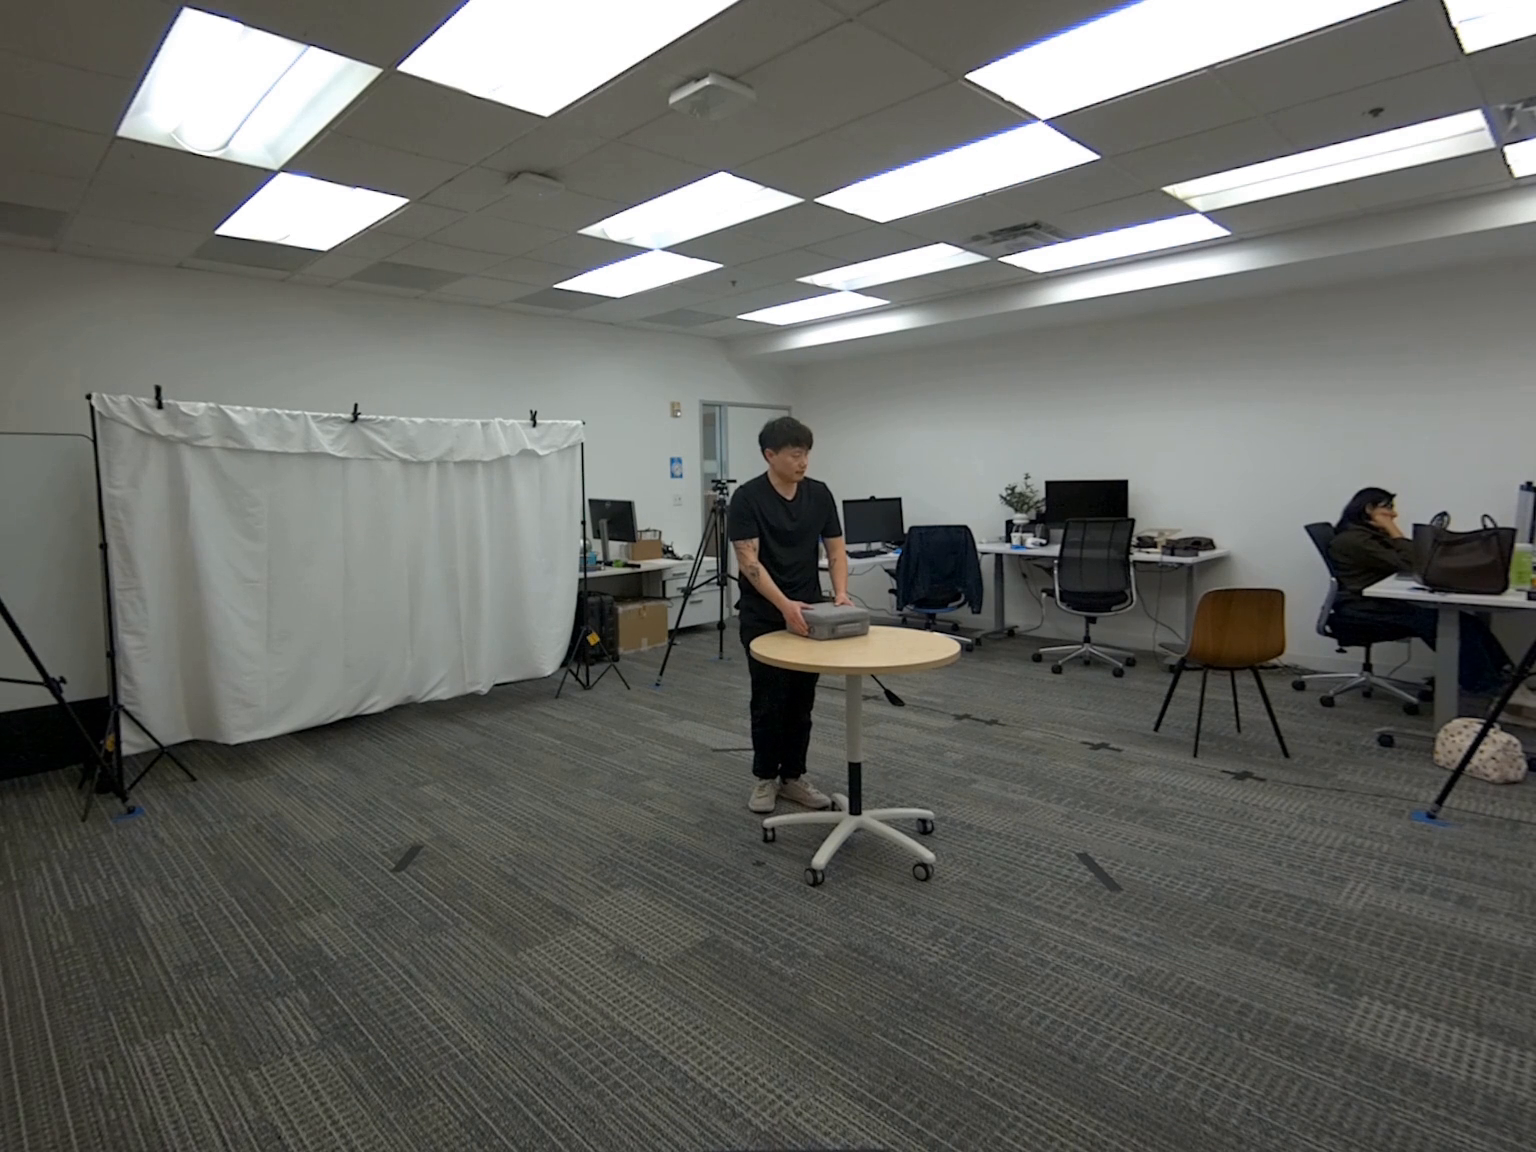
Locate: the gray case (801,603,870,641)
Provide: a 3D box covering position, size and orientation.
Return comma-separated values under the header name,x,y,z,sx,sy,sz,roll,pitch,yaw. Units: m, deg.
name,x,y,z,sx,sy,sz,roll,pitch,yaw
gray case,0.232,0.179,3.363,0.251,0.104,0.267,-3,6,-28
